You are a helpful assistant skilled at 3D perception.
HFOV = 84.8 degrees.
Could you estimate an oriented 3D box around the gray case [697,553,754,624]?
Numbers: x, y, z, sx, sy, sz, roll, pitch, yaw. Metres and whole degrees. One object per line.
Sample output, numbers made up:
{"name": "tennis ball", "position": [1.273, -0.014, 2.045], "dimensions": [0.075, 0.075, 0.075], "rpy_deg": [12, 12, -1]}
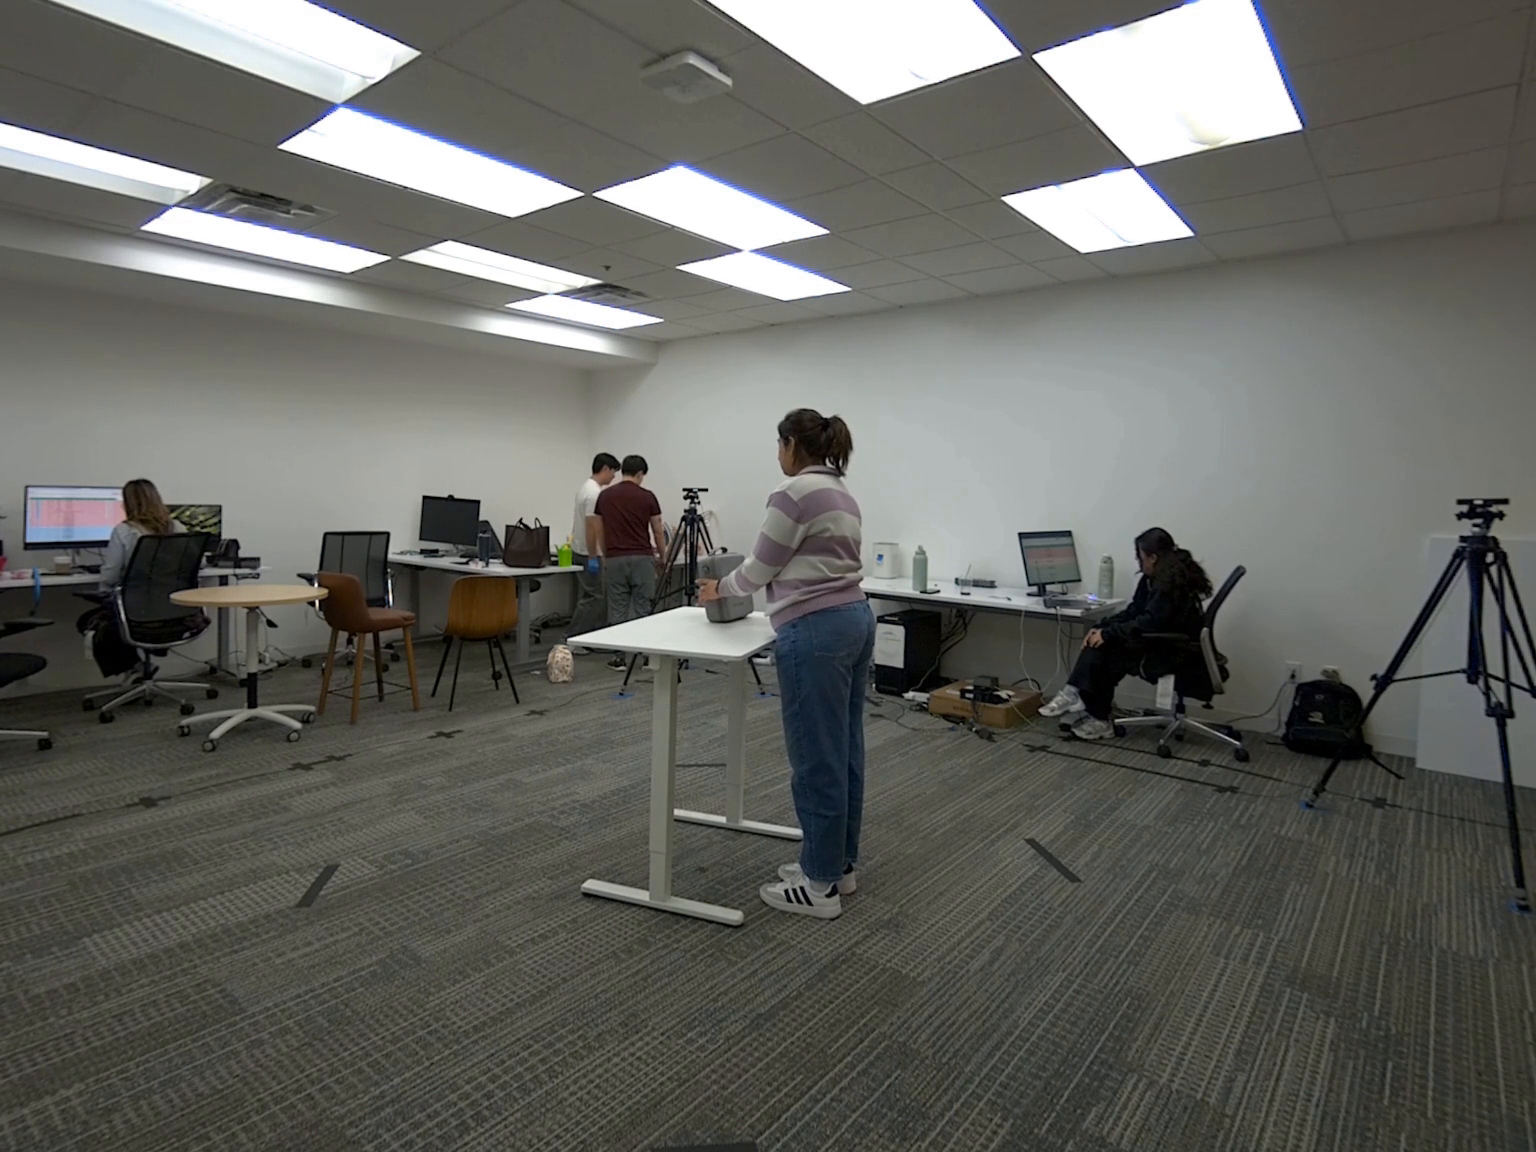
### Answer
{"name": "gray case", "position": [-0.176, 0.036, 3.332], "dimensions": [0.106, 0.262, 0.251], "rpy_deg": [-10, -4, 24]}
